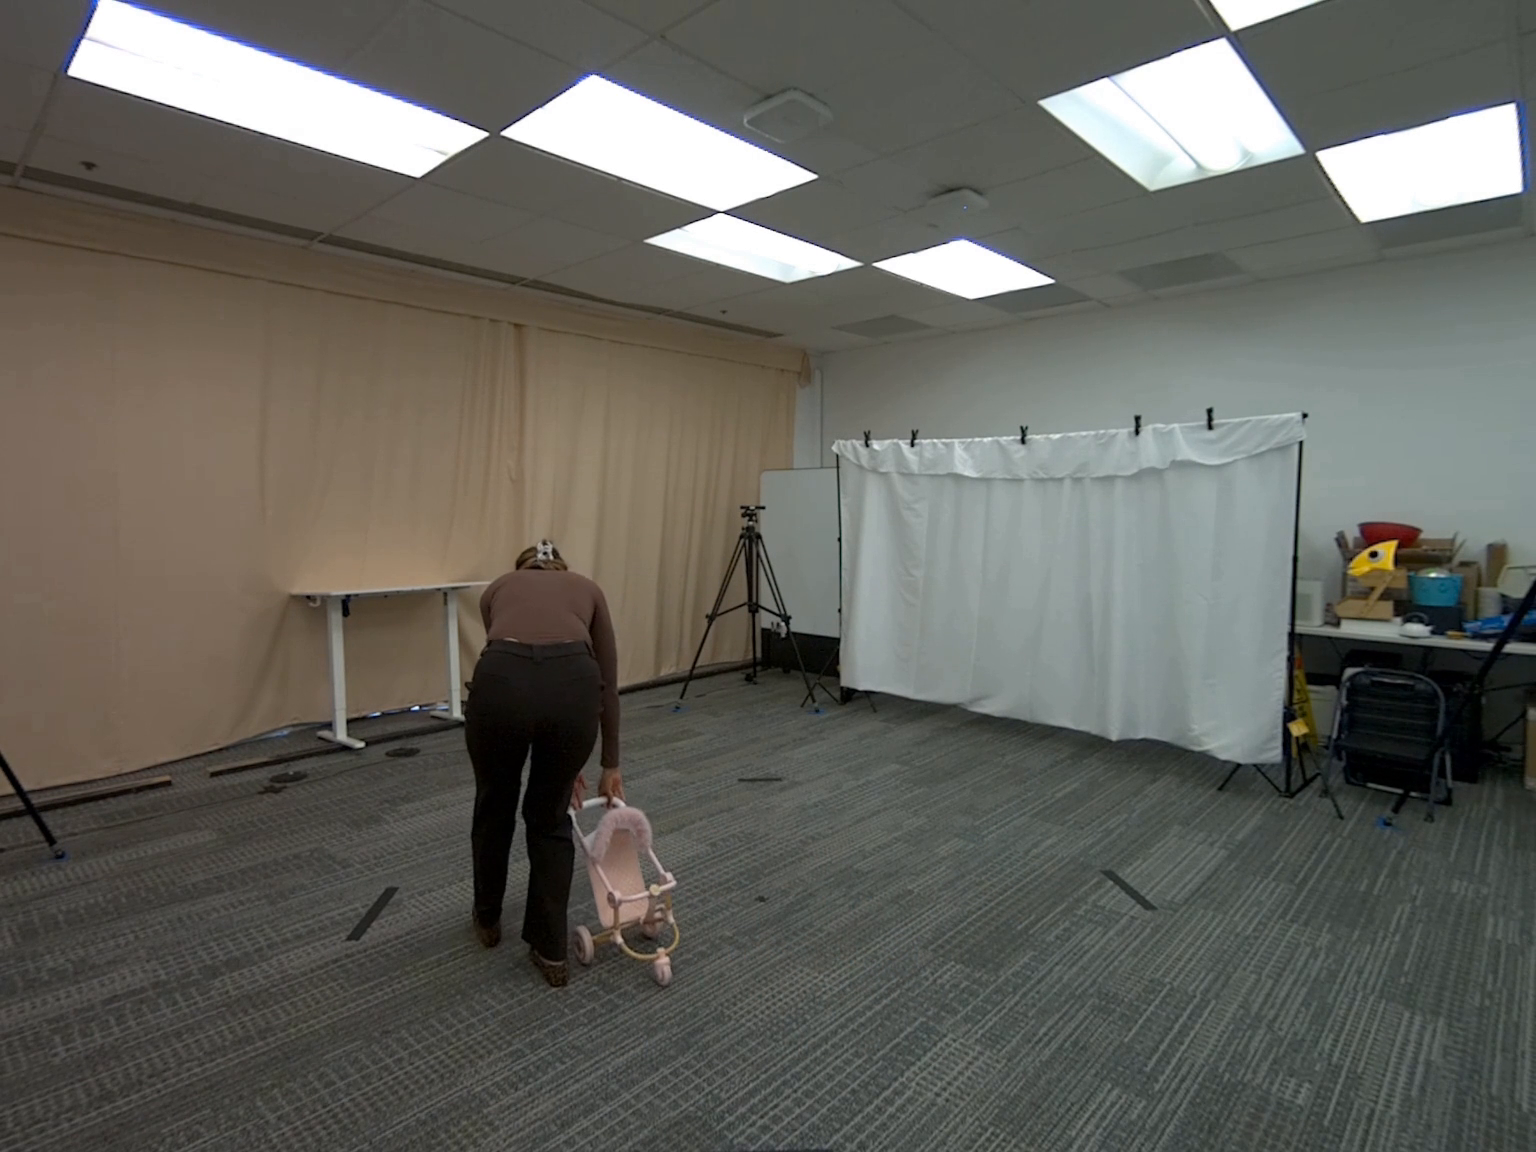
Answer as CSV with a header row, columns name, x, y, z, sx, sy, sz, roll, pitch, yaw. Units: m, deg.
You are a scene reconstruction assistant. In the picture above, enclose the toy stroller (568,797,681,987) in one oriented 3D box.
name,x,y,z,sx,sy,sz,roll,pitch,yaw
toy stroller,-0.430,0.957,2.585,0.273,0.539,0.348,-3,-12,-36
